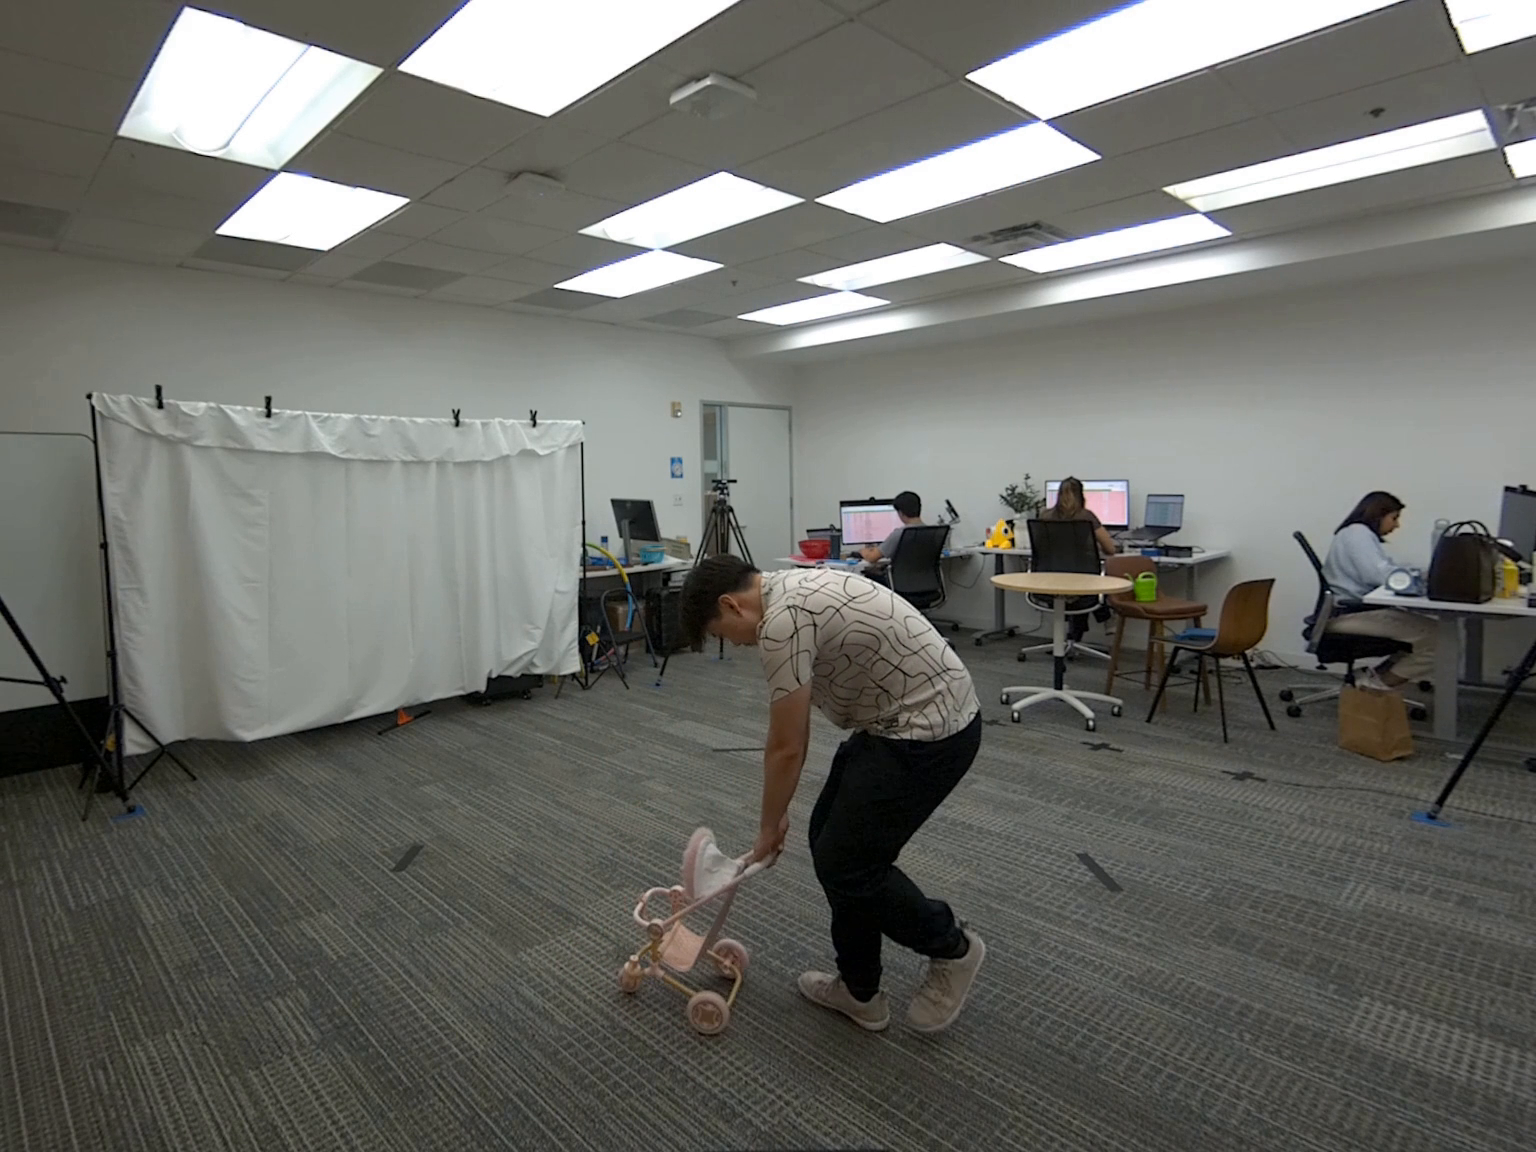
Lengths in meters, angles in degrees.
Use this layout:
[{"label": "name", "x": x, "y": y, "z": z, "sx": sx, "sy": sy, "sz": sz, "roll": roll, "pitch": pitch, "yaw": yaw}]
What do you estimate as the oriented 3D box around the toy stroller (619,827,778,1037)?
[{"label": "toy stroller", "x": -0.199, "y": 0.921, "z": 2.293, "sx": 0.348, "sy": 0.532, "sz": 0.277, "roll": 16, "pitch": 8, "yaw": 16}]
